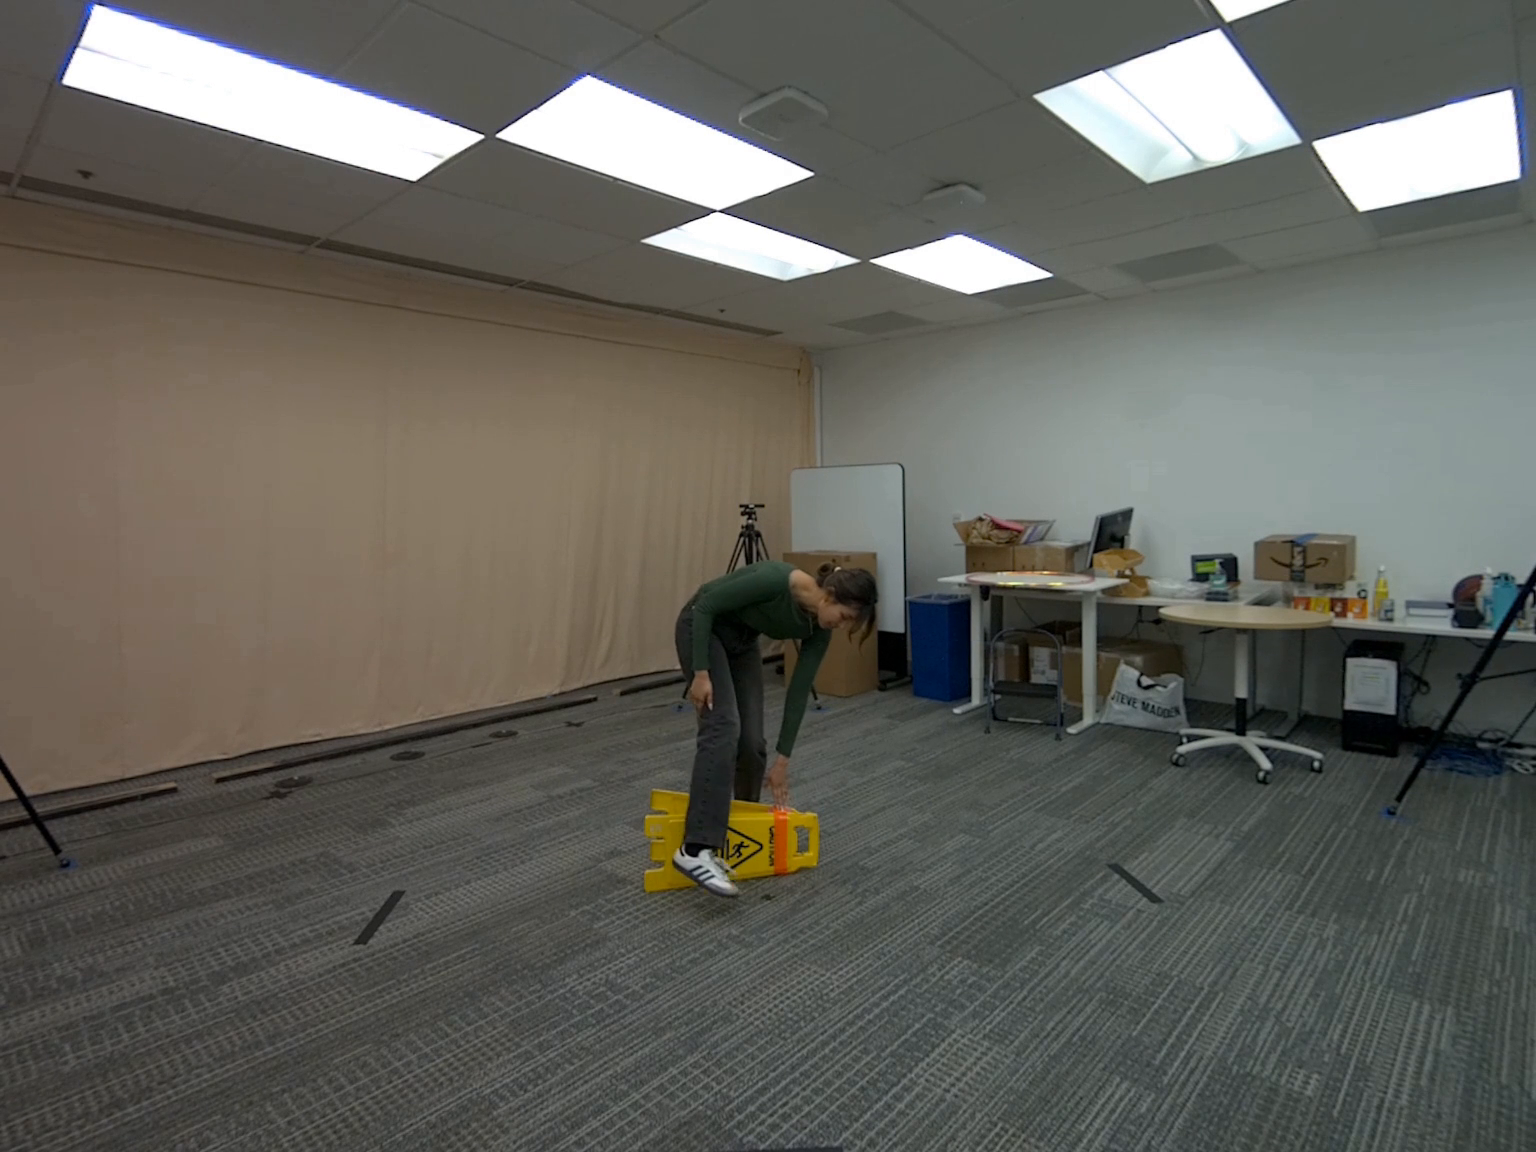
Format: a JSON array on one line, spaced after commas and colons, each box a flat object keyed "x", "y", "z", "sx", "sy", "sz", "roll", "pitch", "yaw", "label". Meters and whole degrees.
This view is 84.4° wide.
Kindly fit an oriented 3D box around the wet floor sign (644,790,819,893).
[{"x": -0.127, "y": 0.991, "z": 3.183, "sx": 0.645, "sy": 0.282, "sz": 0.290, "roll": 1, "pitch": 4, "yaw": -1, "label": "wet floor sign"}]
